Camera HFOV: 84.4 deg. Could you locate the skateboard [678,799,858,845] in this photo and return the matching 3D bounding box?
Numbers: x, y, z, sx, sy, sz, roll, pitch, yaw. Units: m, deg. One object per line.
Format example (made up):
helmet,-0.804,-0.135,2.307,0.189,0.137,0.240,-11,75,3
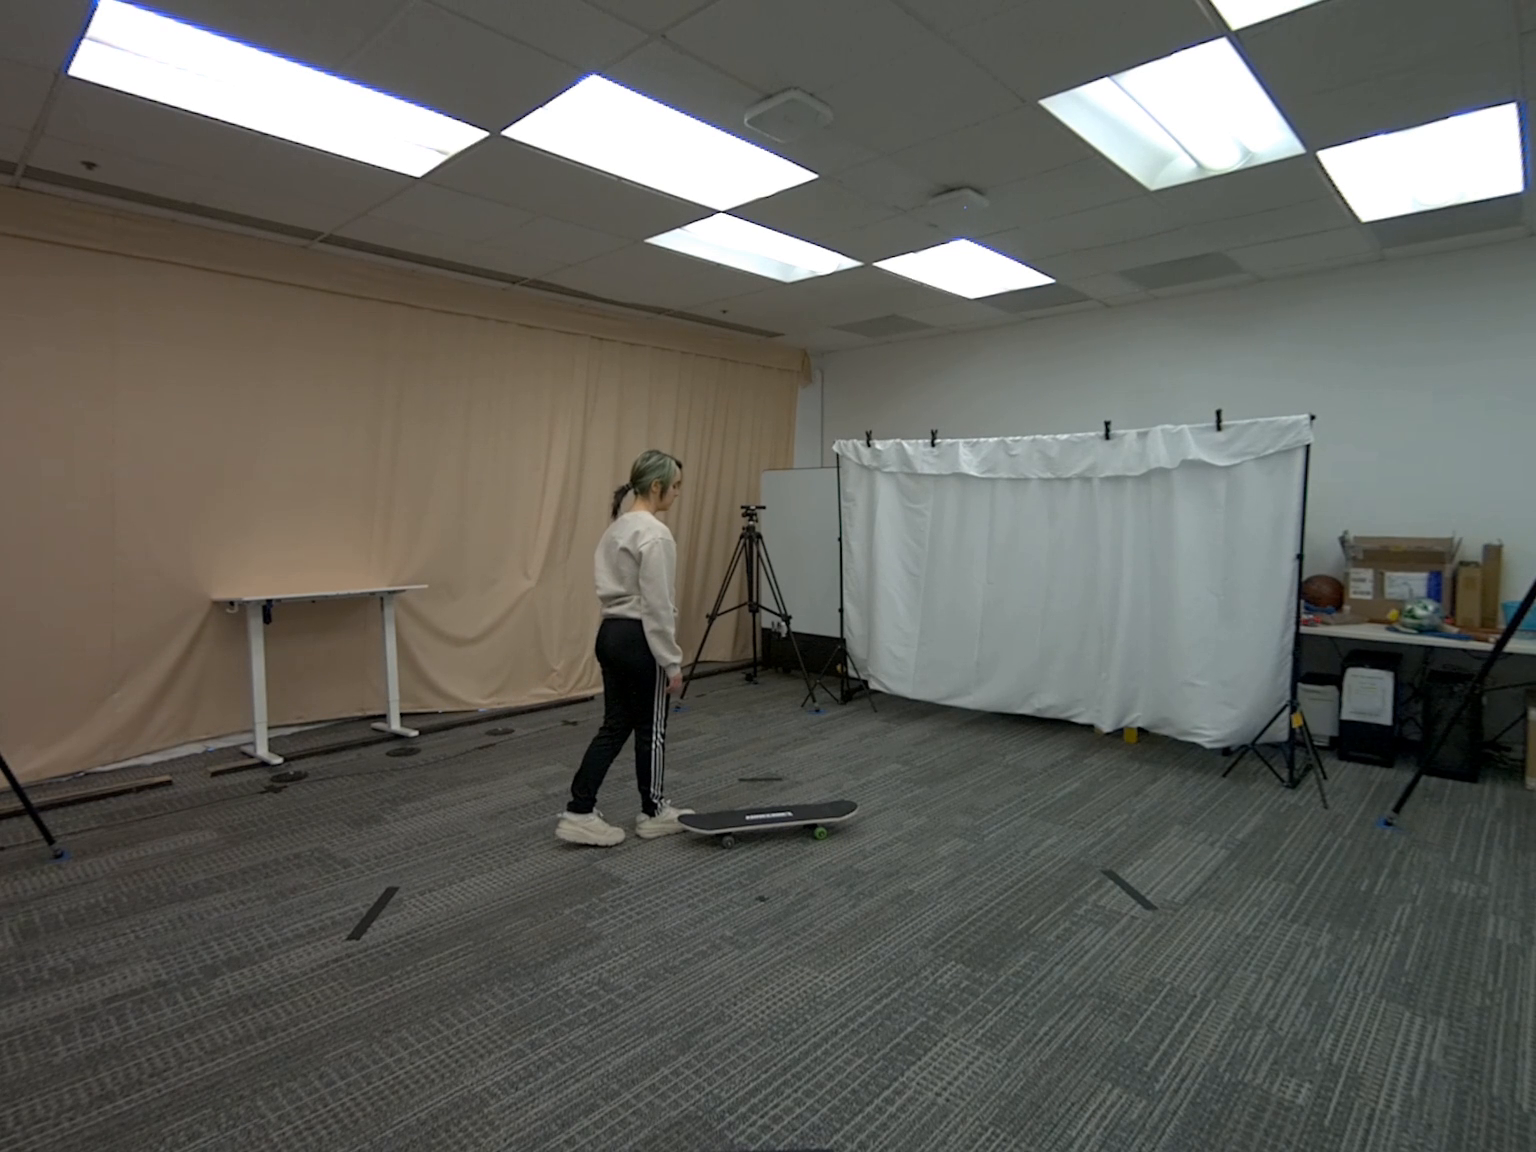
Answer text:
skateboard,0.005,1.040,3.545,0.774,0.110,0.197,-1,5,-13
